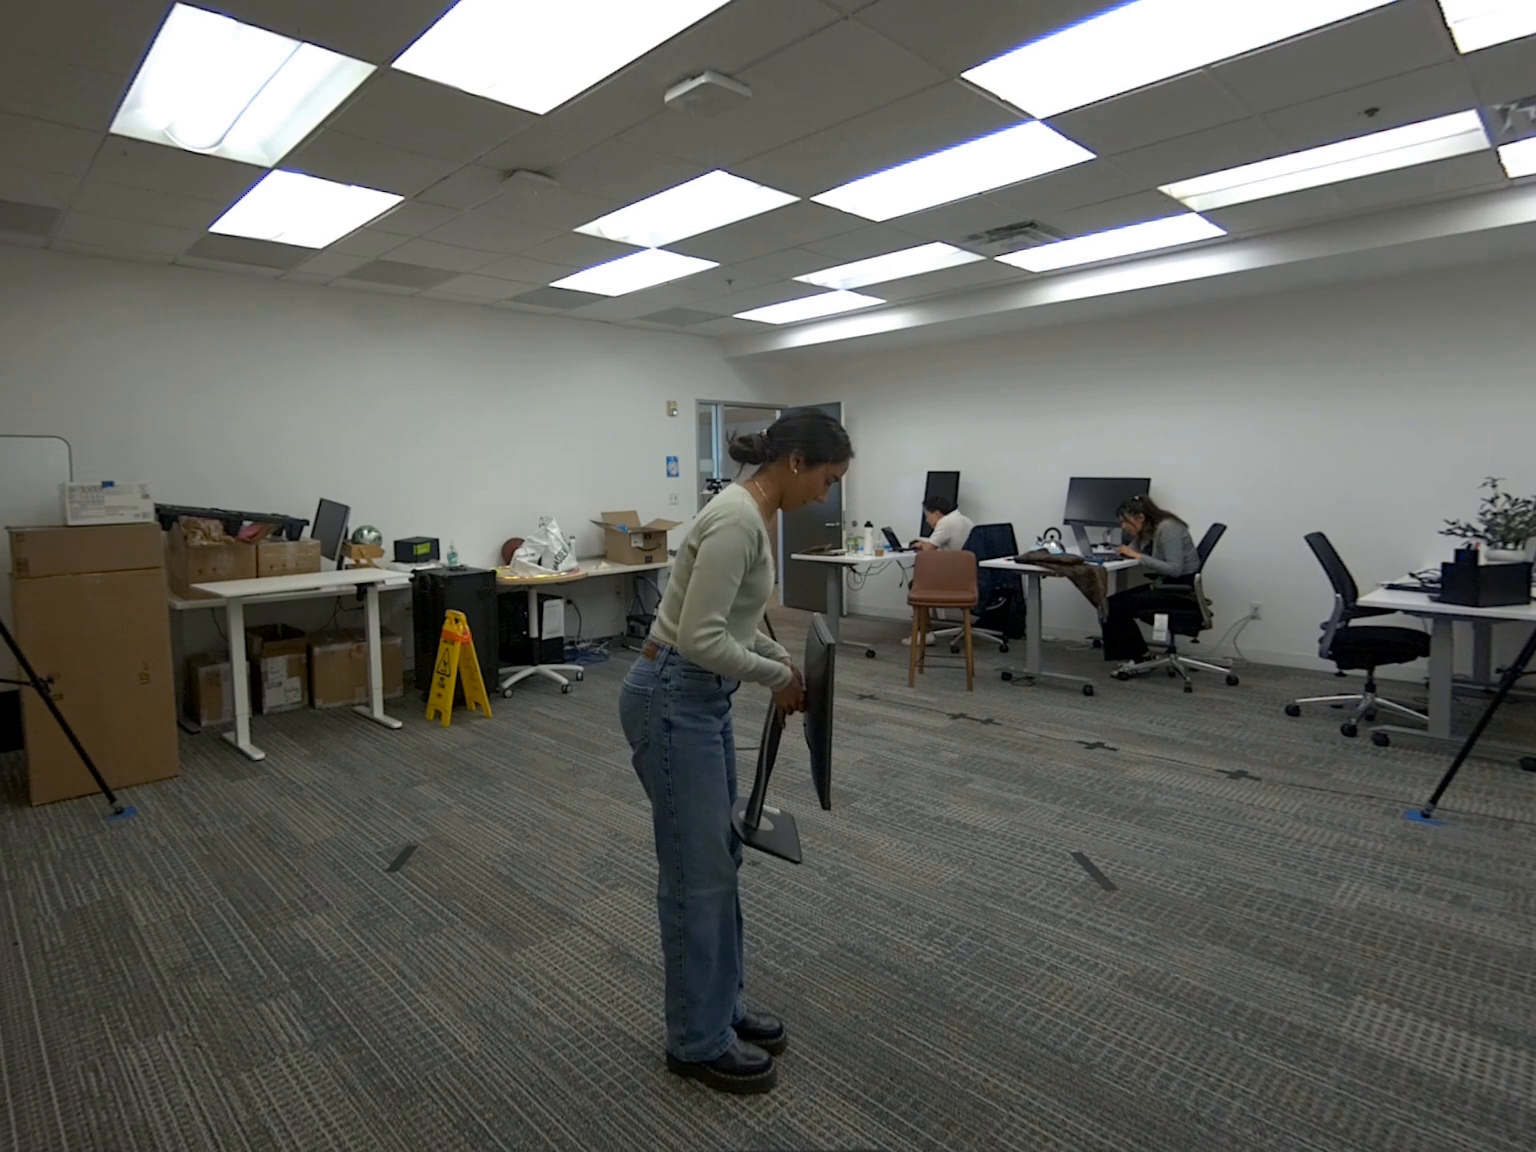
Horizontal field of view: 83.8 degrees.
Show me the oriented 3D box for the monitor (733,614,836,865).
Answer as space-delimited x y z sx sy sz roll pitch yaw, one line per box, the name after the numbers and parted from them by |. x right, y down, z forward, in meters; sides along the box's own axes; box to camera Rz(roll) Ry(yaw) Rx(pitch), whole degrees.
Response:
0.070 0.372 2.051 0.175 0.515 0.530 19 3 -1 | monitor
